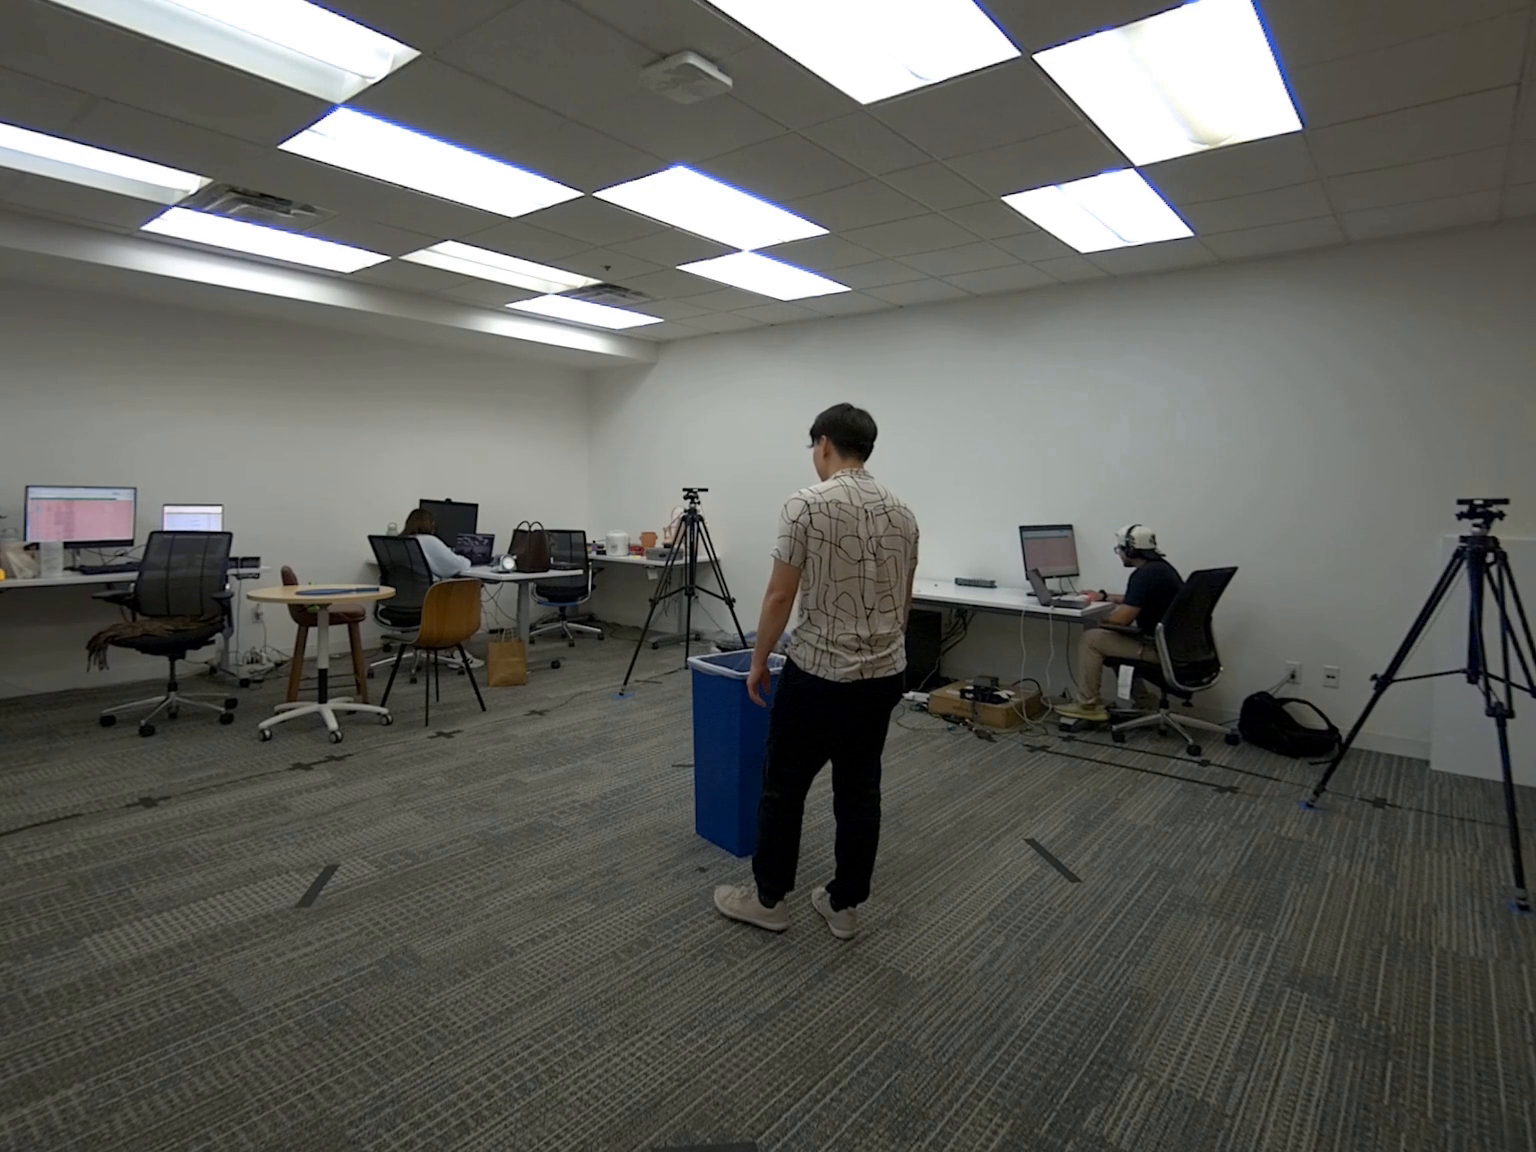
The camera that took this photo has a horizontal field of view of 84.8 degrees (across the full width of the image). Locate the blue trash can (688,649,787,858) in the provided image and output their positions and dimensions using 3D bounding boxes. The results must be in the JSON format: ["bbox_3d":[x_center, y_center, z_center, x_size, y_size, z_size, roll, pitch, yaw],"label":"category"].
[{"bbox_3d":[-0.097,0.686,3.392,0.363,0.712,0.390,-1,4,-39],"label":"blue trash can"}]
